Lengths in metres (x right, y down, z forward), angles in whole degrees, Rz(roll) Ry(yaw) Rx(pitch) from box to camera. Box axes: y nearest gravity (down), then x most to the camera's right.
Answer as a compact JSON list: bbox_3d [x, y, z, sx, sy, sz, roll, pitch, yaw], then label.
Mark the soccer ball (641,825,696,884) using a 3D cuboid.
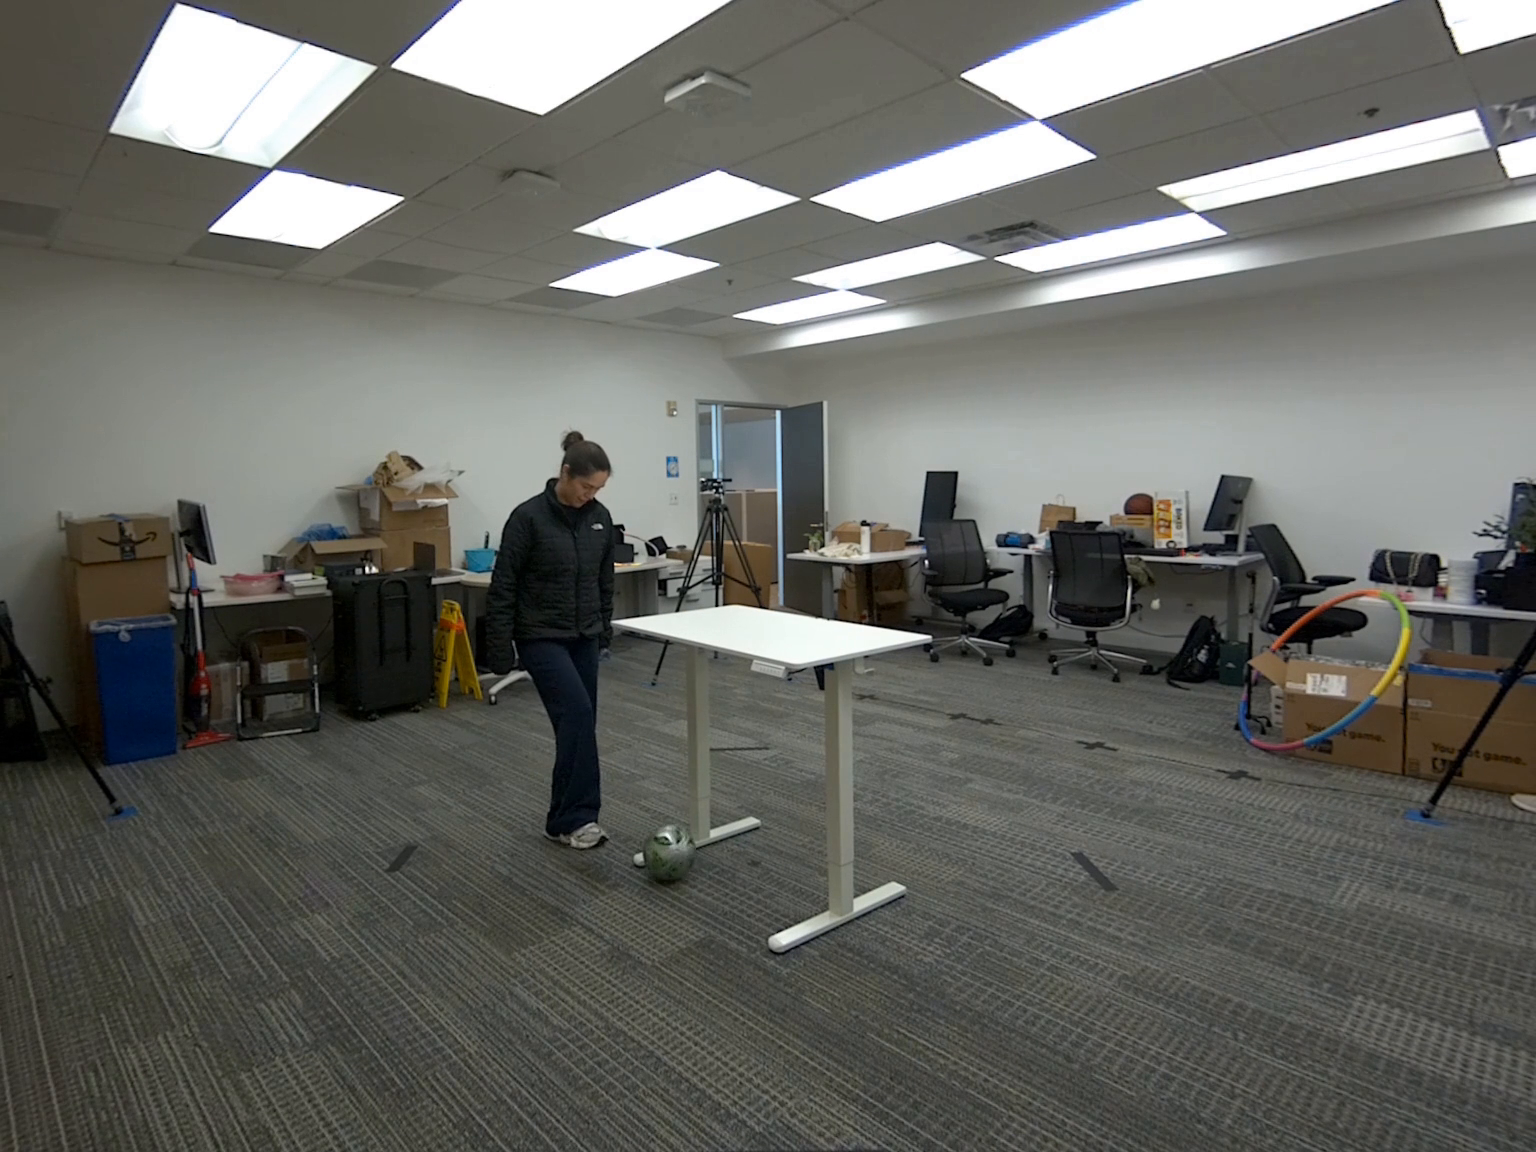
[{"bbox_3d":[-0.345,0.969,2.988,0.187,0.187,0.188,-1,5,-2],"label":"soccer ball"}]
